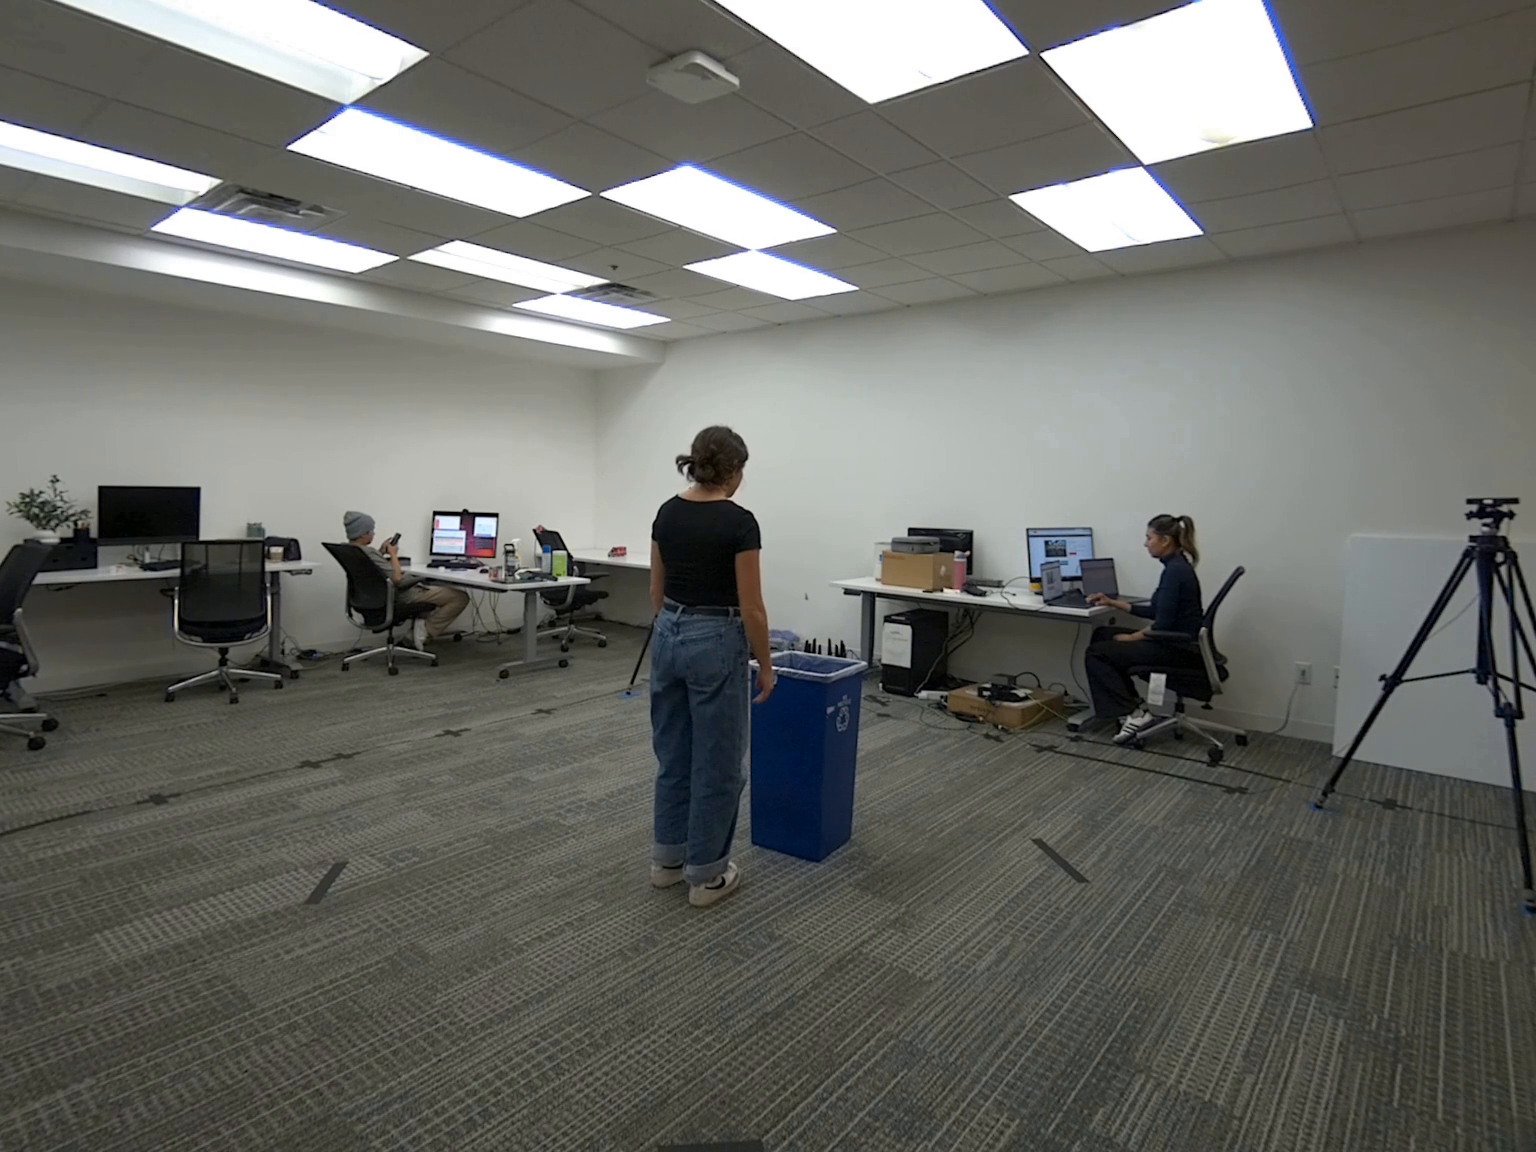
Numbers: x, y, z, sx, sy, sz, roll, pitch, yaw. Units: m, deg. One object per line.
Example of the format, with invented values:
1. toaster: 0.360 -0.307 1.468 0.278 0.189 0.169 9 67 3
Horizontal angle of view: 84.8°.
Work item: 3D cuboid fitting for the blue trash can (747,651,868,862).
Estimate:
1. blue trash can: 0.139 0.690 3.368 0.390 0.711 0.364 4 4 32
